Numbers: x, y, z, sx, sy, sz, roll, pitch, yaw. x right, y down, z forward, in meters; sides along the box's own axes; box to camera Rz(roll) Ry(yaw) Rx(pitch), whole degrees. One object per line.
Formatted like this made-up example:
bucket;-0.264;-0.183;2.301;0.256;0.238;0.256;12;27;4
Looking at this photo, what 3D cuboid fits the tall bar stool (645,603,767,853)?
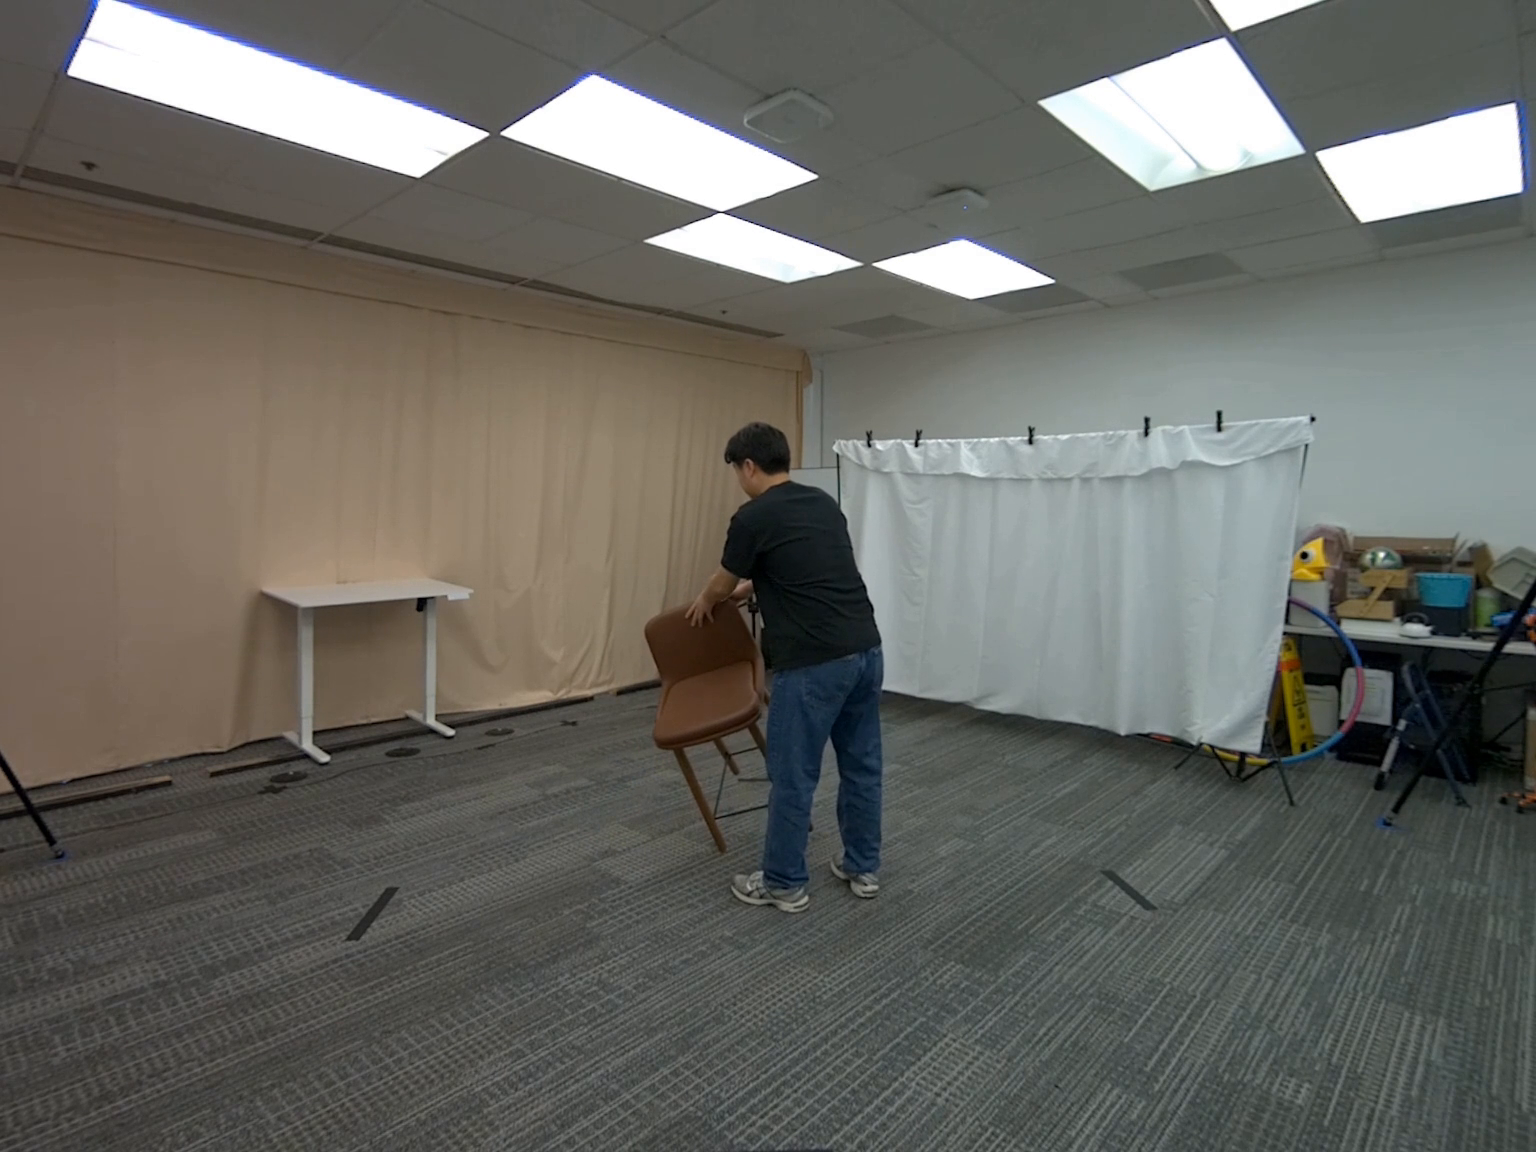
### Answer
tall bar stool;-0.168;0.591;3.353;0.463;0.871;0.471;-18;24;16
